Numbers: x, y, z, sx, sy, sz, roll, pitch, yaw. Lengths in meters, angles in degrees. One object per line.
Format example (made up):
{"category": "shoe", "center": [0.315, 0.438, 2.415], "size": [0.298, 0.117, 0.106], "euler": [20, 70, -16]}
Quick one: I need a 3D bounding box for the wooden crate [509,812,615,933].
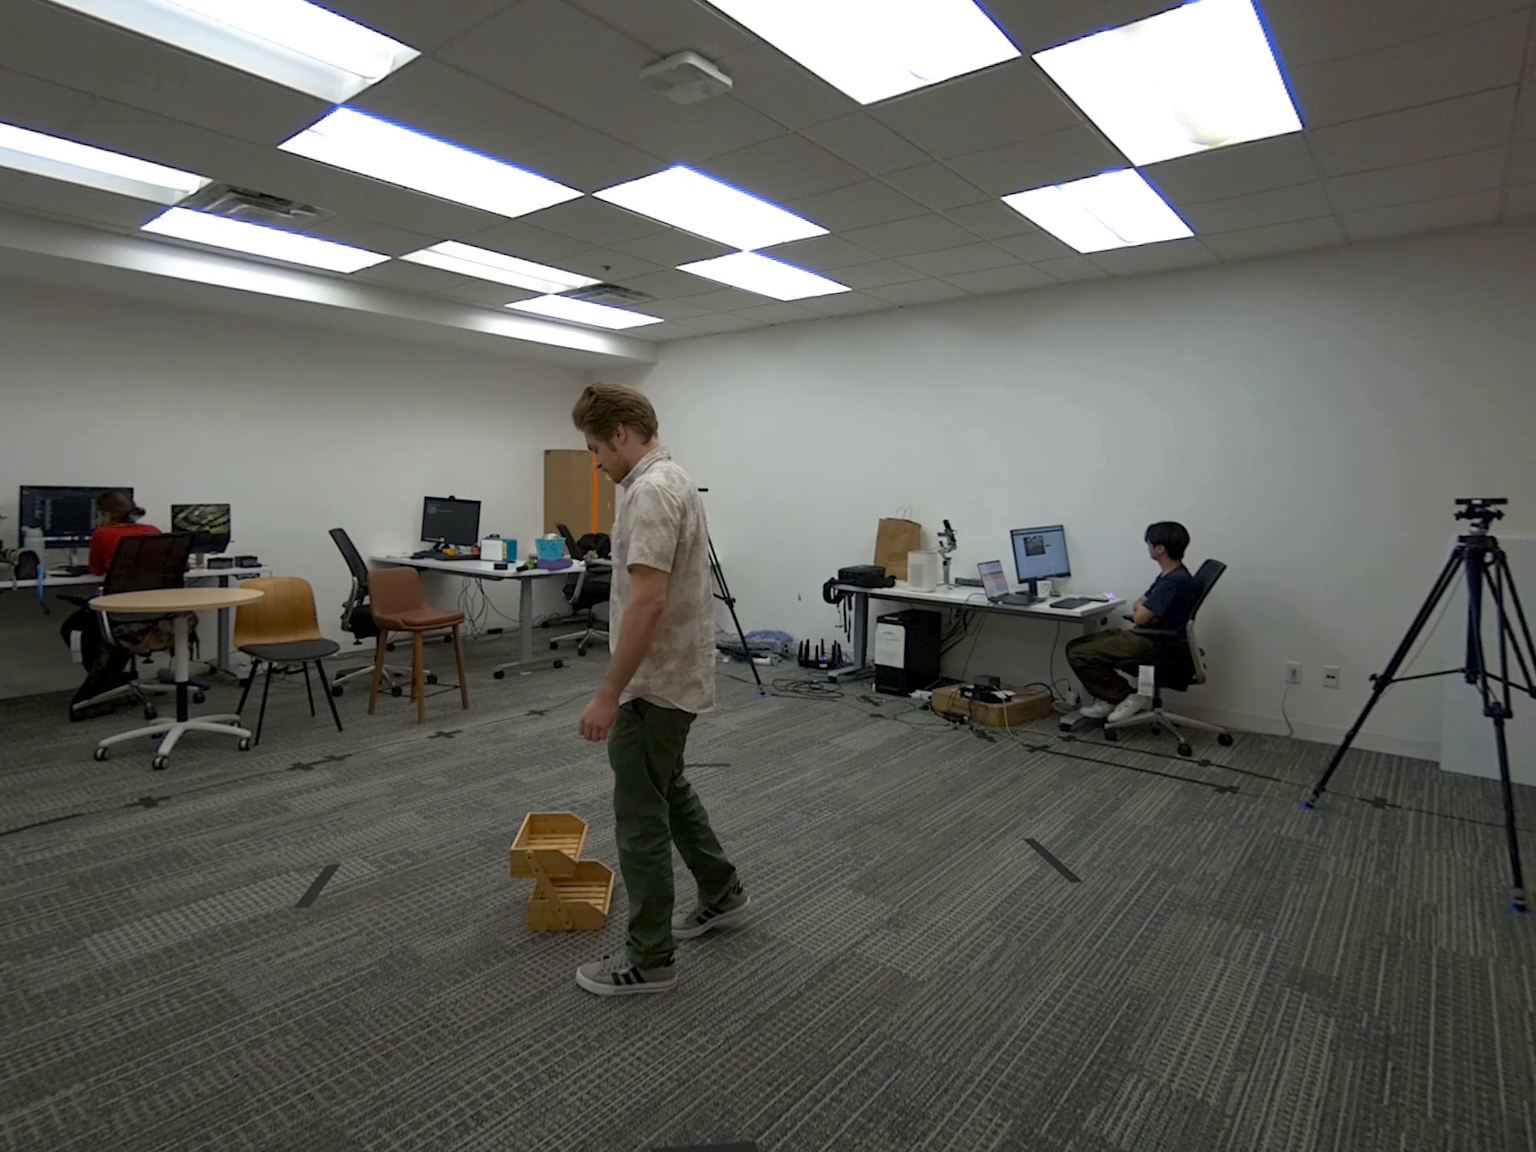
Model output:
{"category": "wooden crate", "center": [-0.671, 0.956, 2.800], "size": [0.301, 0.272, 0.327], "euler": [0, 5, -4]}
